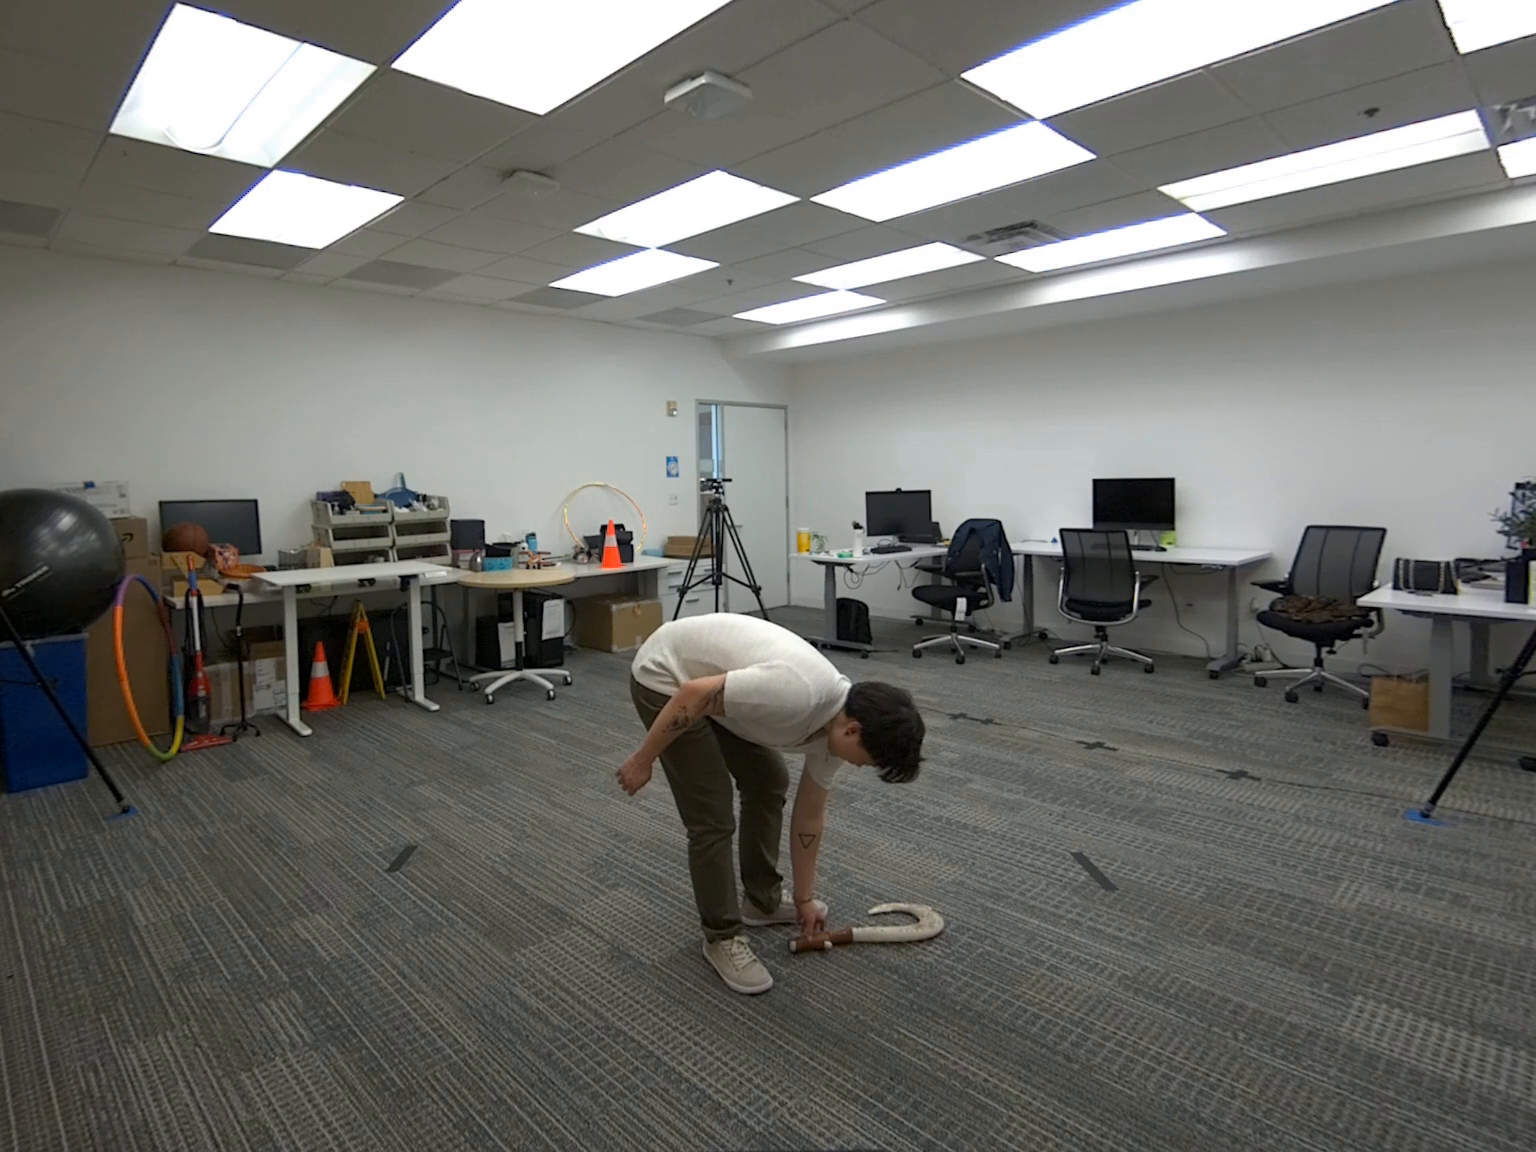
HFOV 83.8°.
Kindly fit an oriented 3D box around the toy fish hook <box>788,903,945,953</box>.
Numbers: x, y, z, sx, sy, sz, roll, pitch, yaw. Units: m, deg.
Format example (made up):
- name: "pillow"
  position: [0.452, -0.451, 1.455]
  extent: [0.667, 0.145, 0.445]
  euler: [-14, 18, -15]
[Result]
- name: "toy fish hook"
  position: [0.291, 1.072, 2.624]
  extent: [0.500, 0.048, 0.227]
  euler: [-2, -1, -13]
